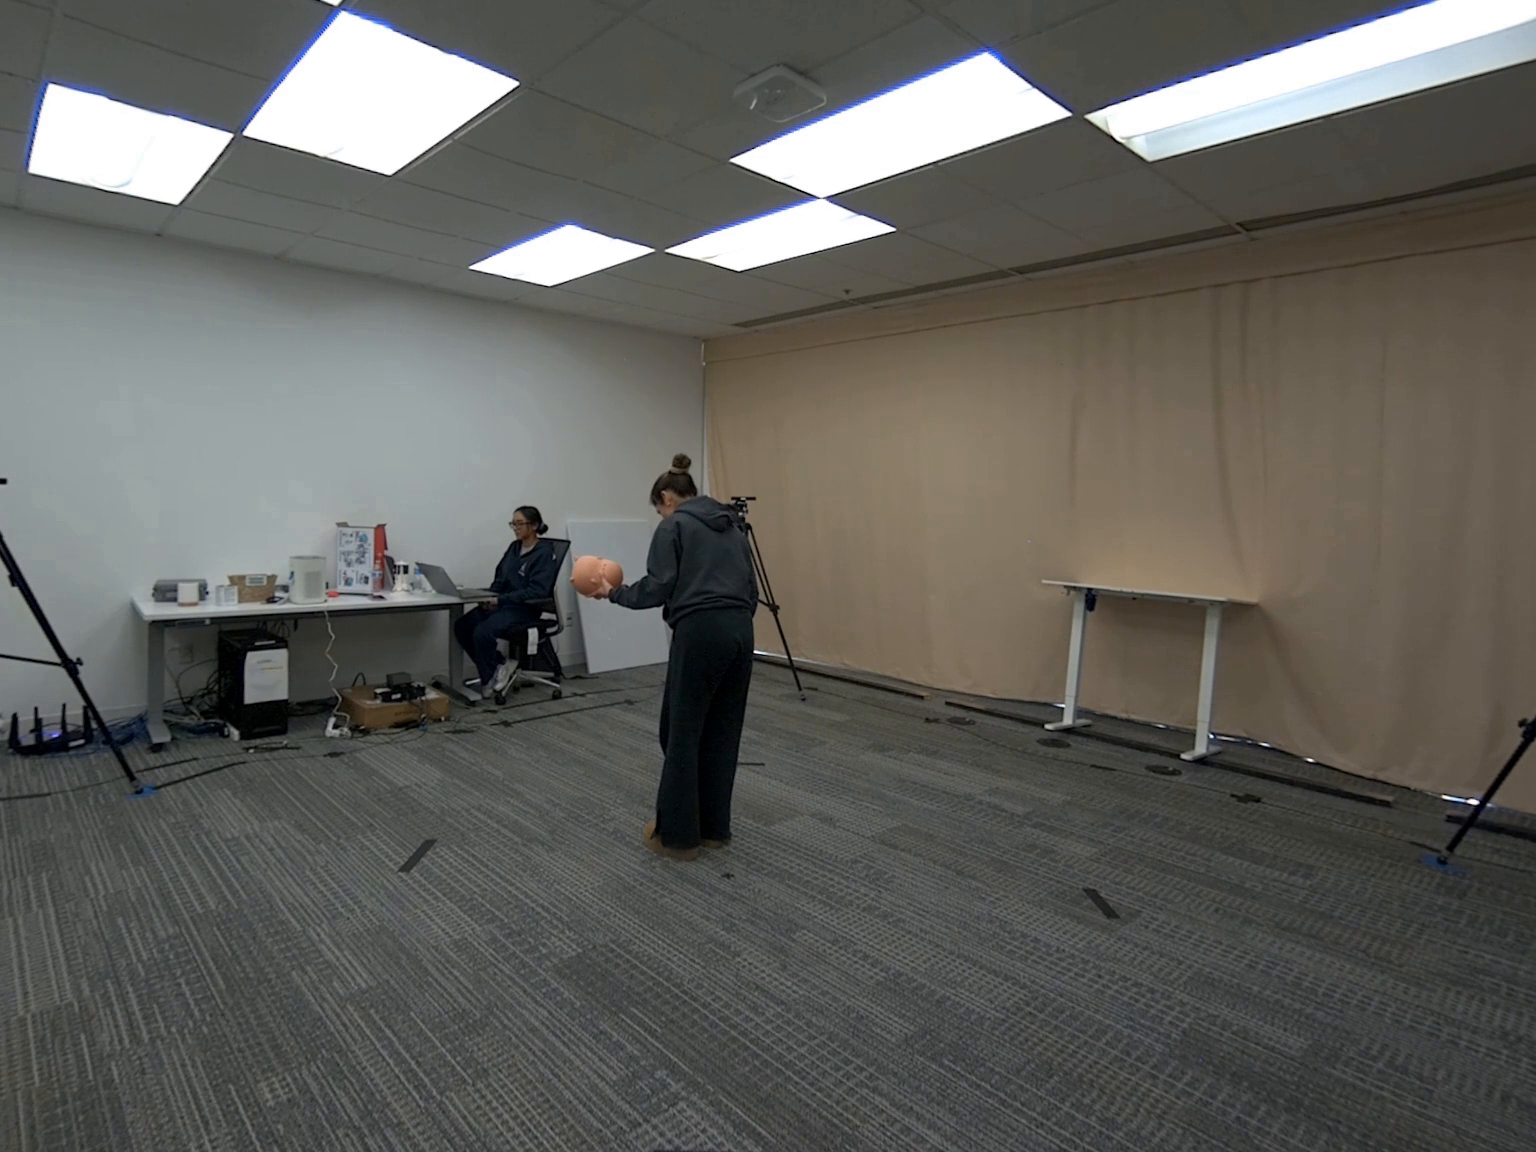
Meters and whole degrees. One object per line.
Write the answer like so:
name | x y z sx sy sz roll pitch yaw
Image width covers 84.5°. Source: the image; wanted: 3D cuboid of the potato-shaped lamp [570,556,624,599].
potato-shaped lamp | -0.699 0.001 3.460 0.200 0.167 0.166 -3 -34 14
